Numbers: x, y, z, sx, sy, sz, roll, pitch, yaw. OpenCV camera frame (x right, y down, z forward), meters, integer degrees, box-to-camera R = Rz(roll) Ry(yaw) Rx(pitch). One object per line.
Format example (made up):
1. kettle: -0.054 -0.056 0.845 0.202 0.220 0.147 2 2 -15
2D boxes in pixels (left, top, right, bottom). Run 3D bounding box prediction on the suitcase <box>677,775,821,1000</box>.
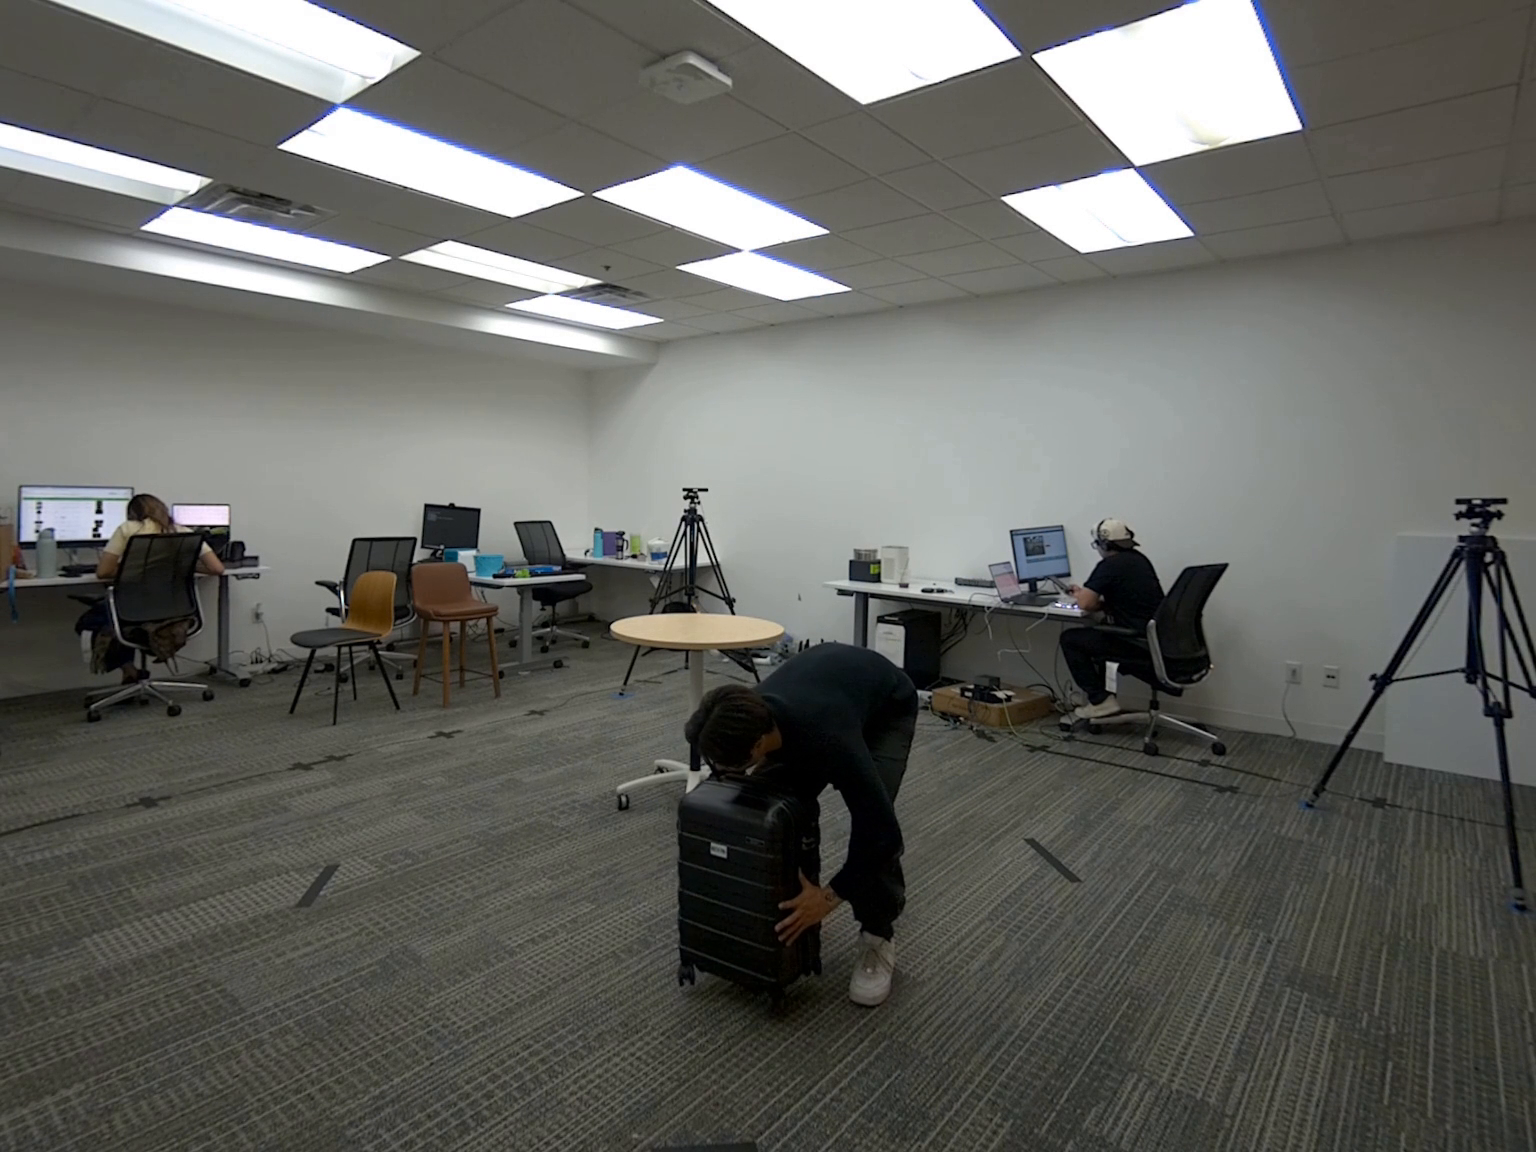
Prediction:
1. suitcase: -0.058 0.840 2.354 0.387 0.548 0.242 1 4 33
